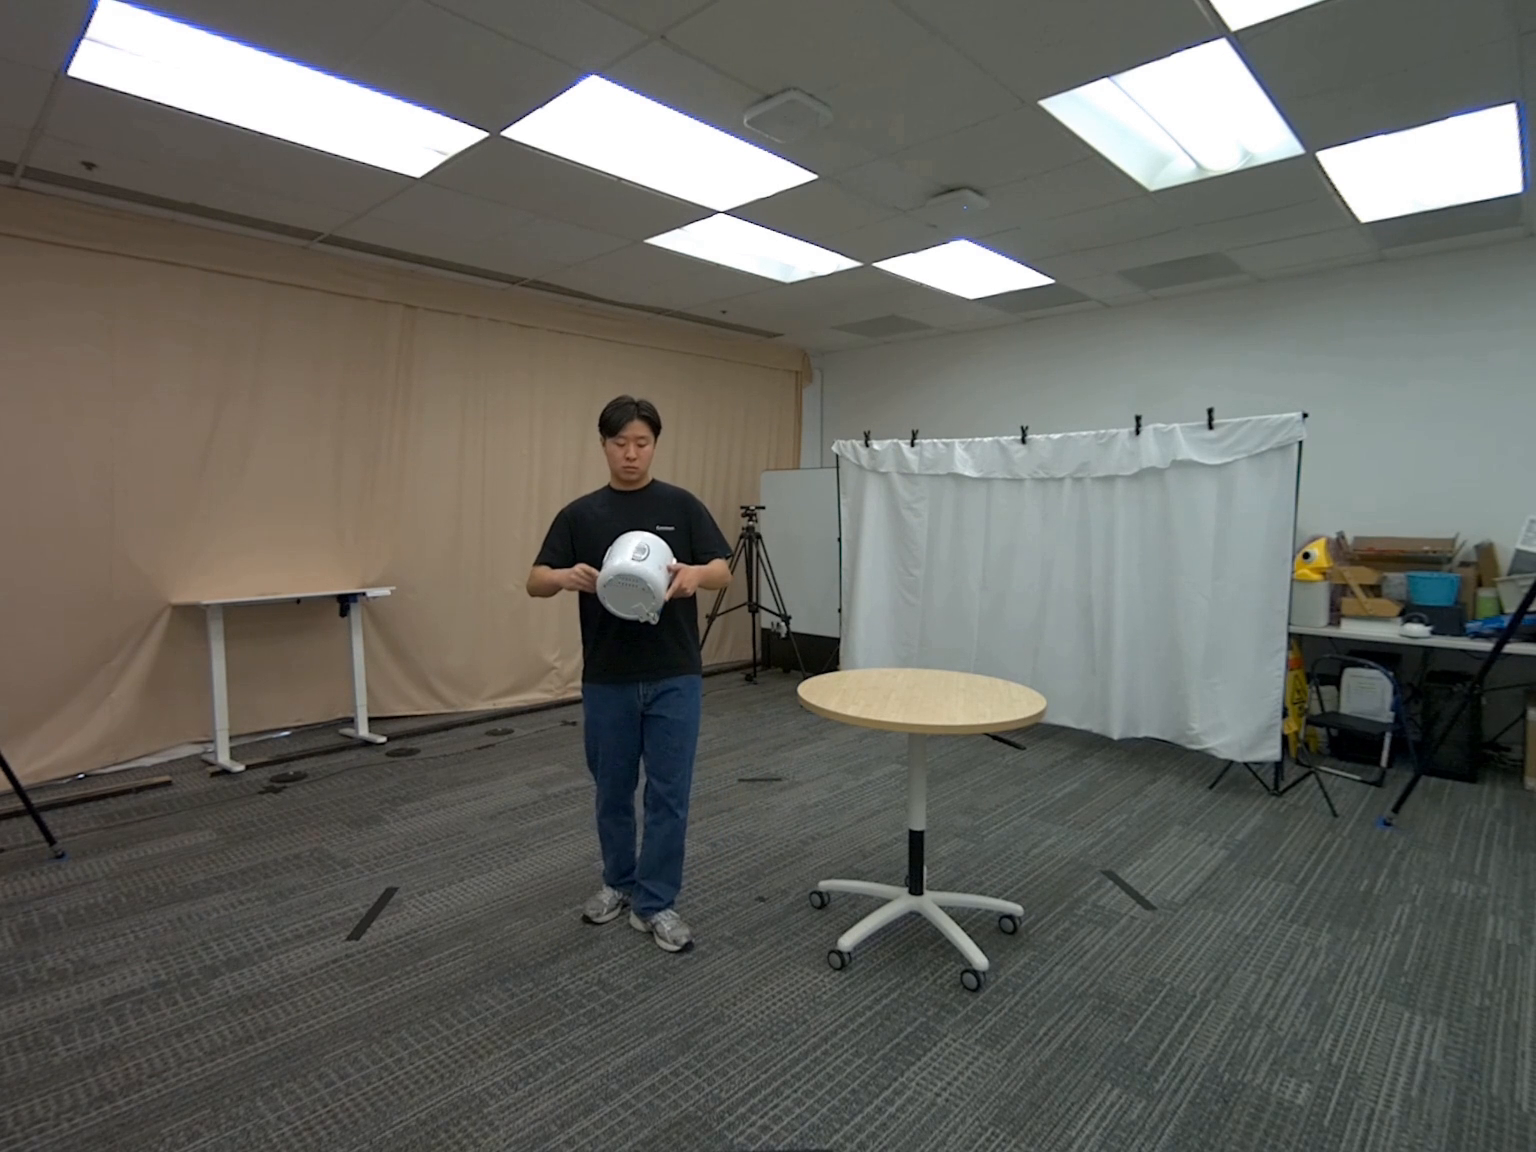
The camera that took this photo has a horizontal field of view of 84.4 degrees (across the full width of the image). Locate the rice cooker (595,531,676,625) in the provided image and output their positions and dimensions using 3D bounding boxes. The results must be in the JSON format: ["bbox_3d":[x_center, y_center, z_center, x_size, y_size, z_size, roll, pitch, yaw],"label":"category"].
[{"bbox_3d":[-0.382,-0.011,2.513,0.221,0.214,0.236,5,36,0],"label":"rice cooker"}]
